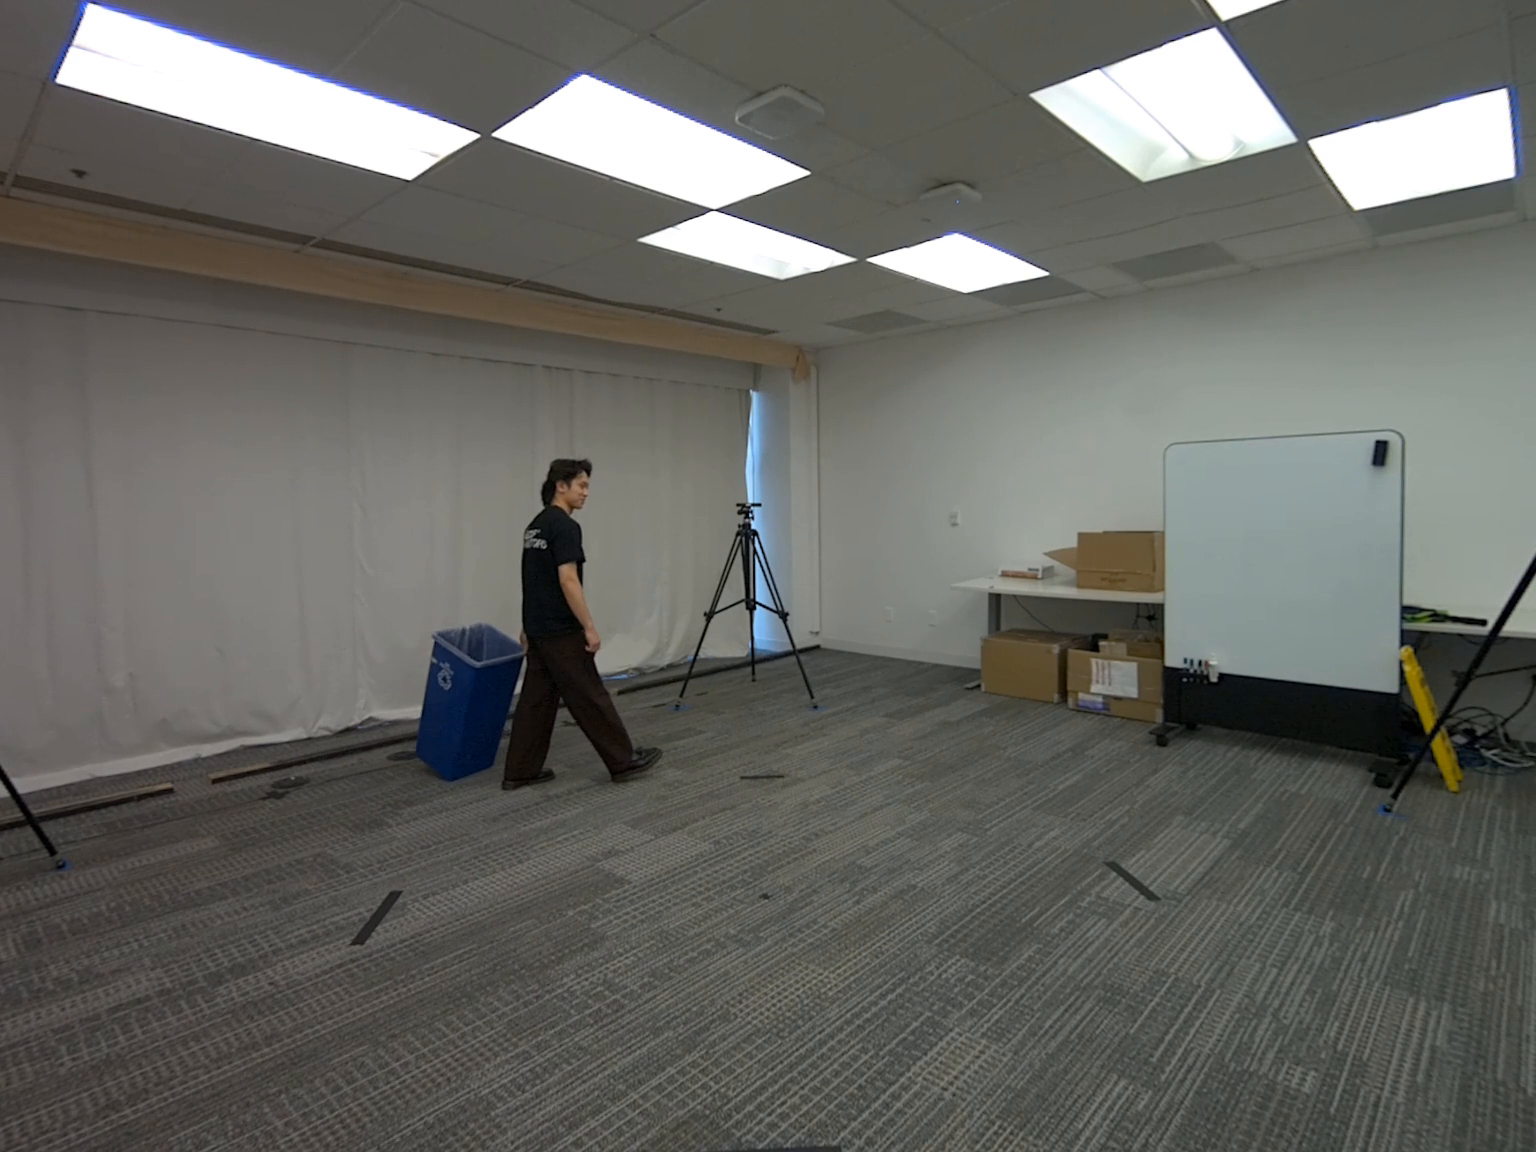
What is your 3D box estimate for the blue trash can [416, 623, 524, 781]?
[{"bbox_3d":[-1.570,0.664,4.404,0.385,0.710,0.368,24,17,26],"label":"blue trash can"}]
